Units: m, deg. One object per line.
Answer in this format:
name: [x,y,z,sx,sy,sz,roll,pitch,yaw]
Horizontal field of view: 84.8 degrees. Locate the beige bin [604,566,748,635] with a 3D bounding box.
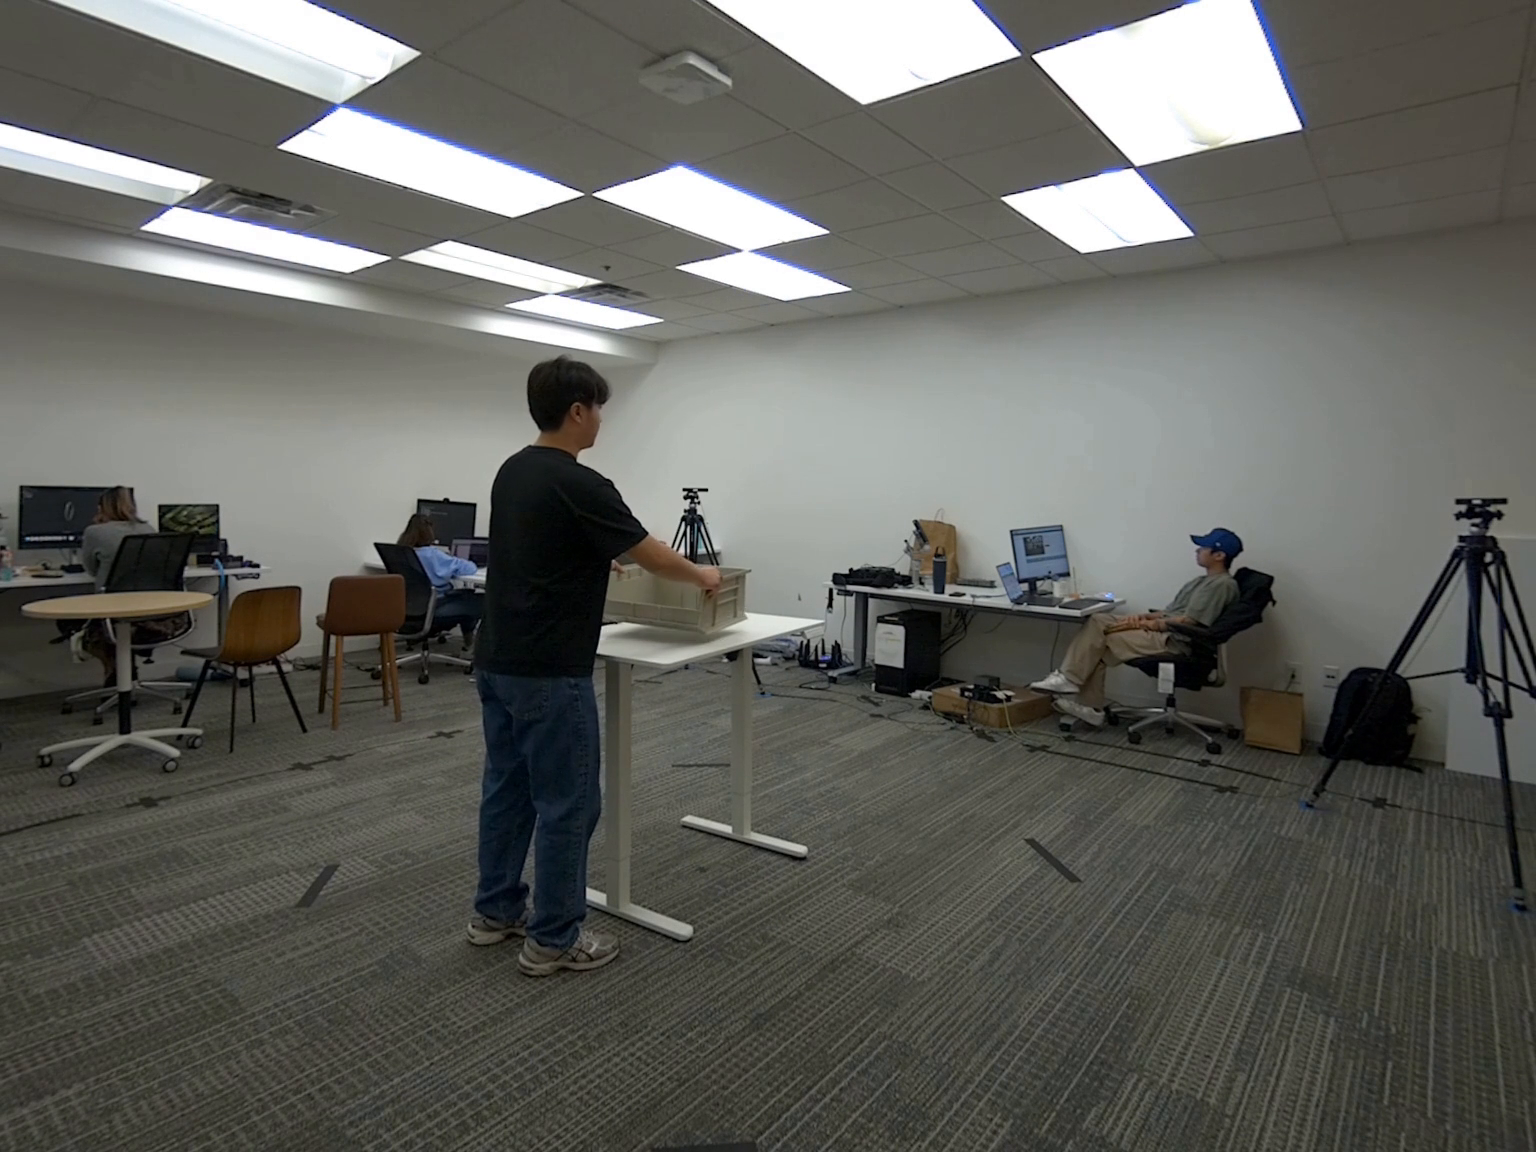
beige bin: [-0.335,0.072,2.963,0.434,0.188,0.369,4,6,26]
